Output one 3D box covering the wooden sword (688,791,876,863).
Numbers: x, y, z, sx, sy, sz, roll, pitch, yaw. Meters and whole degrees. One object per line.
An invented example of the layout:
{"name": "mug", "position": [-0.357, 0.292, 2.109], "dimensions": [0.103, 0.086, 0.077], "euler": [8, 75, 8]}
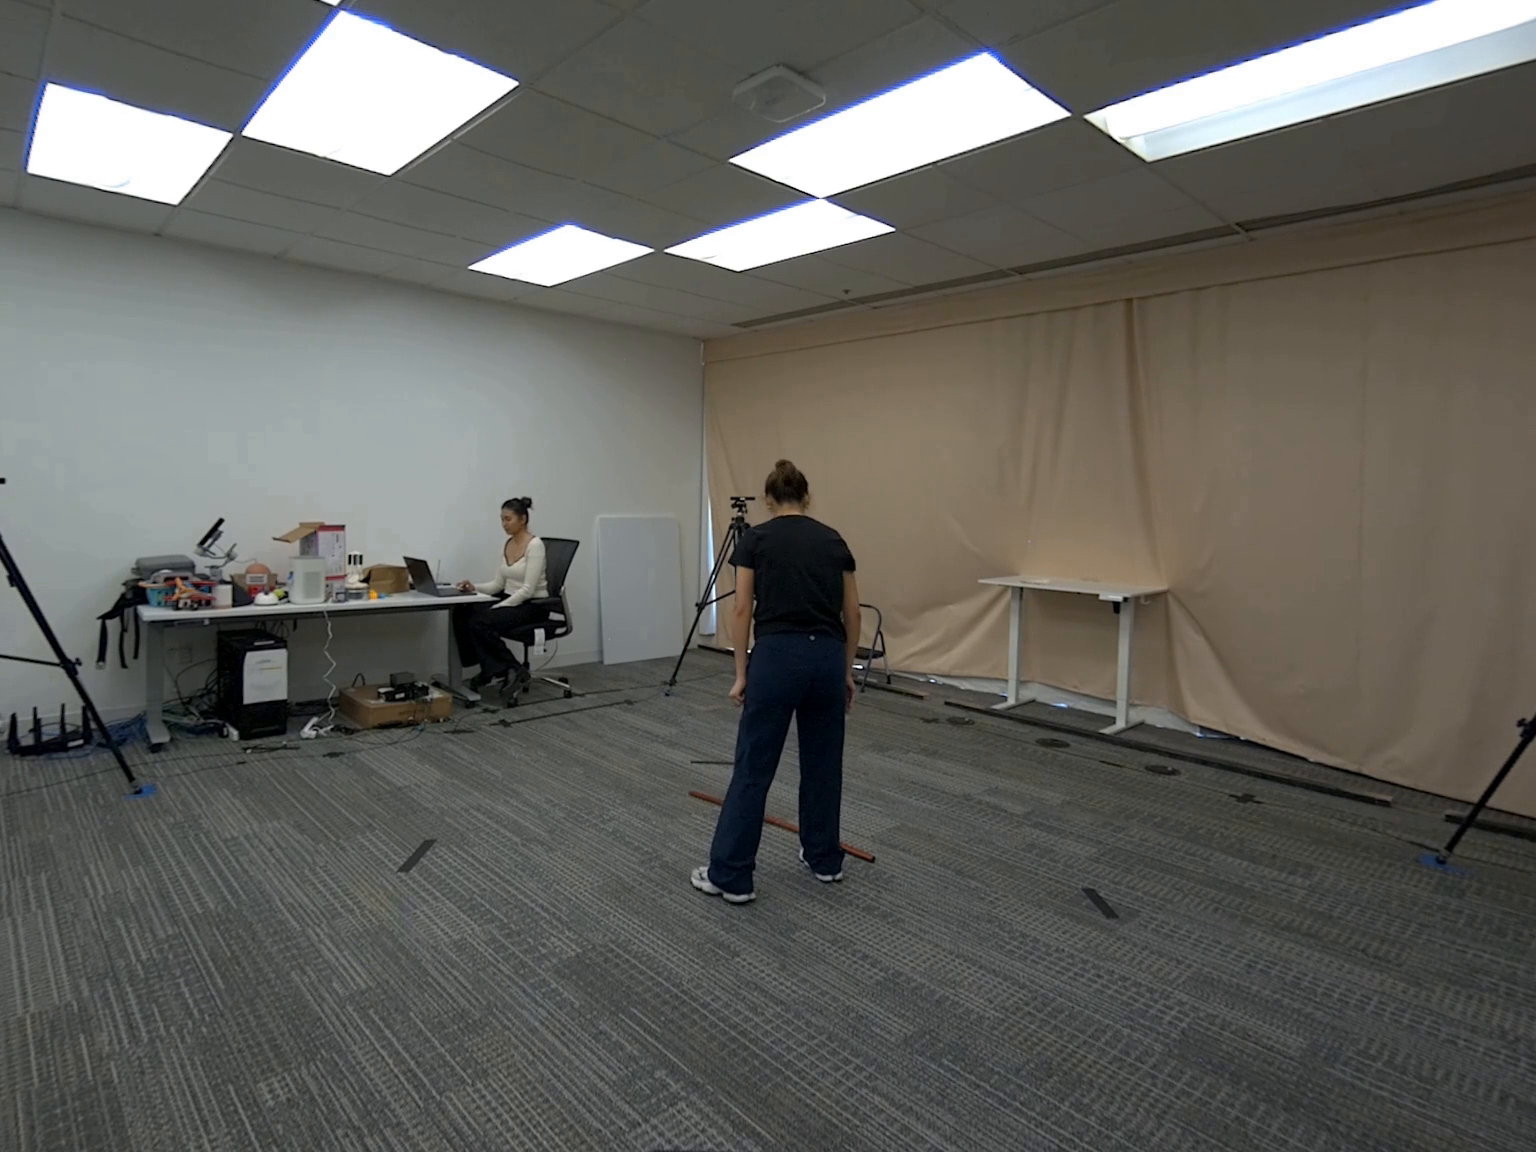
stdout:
{"name": "wooden sword", "position": [0.024, 1.047, 3.578], "dimensions": [1.051, 0.024, 0.050], "euler": [5, 9, 42]}
